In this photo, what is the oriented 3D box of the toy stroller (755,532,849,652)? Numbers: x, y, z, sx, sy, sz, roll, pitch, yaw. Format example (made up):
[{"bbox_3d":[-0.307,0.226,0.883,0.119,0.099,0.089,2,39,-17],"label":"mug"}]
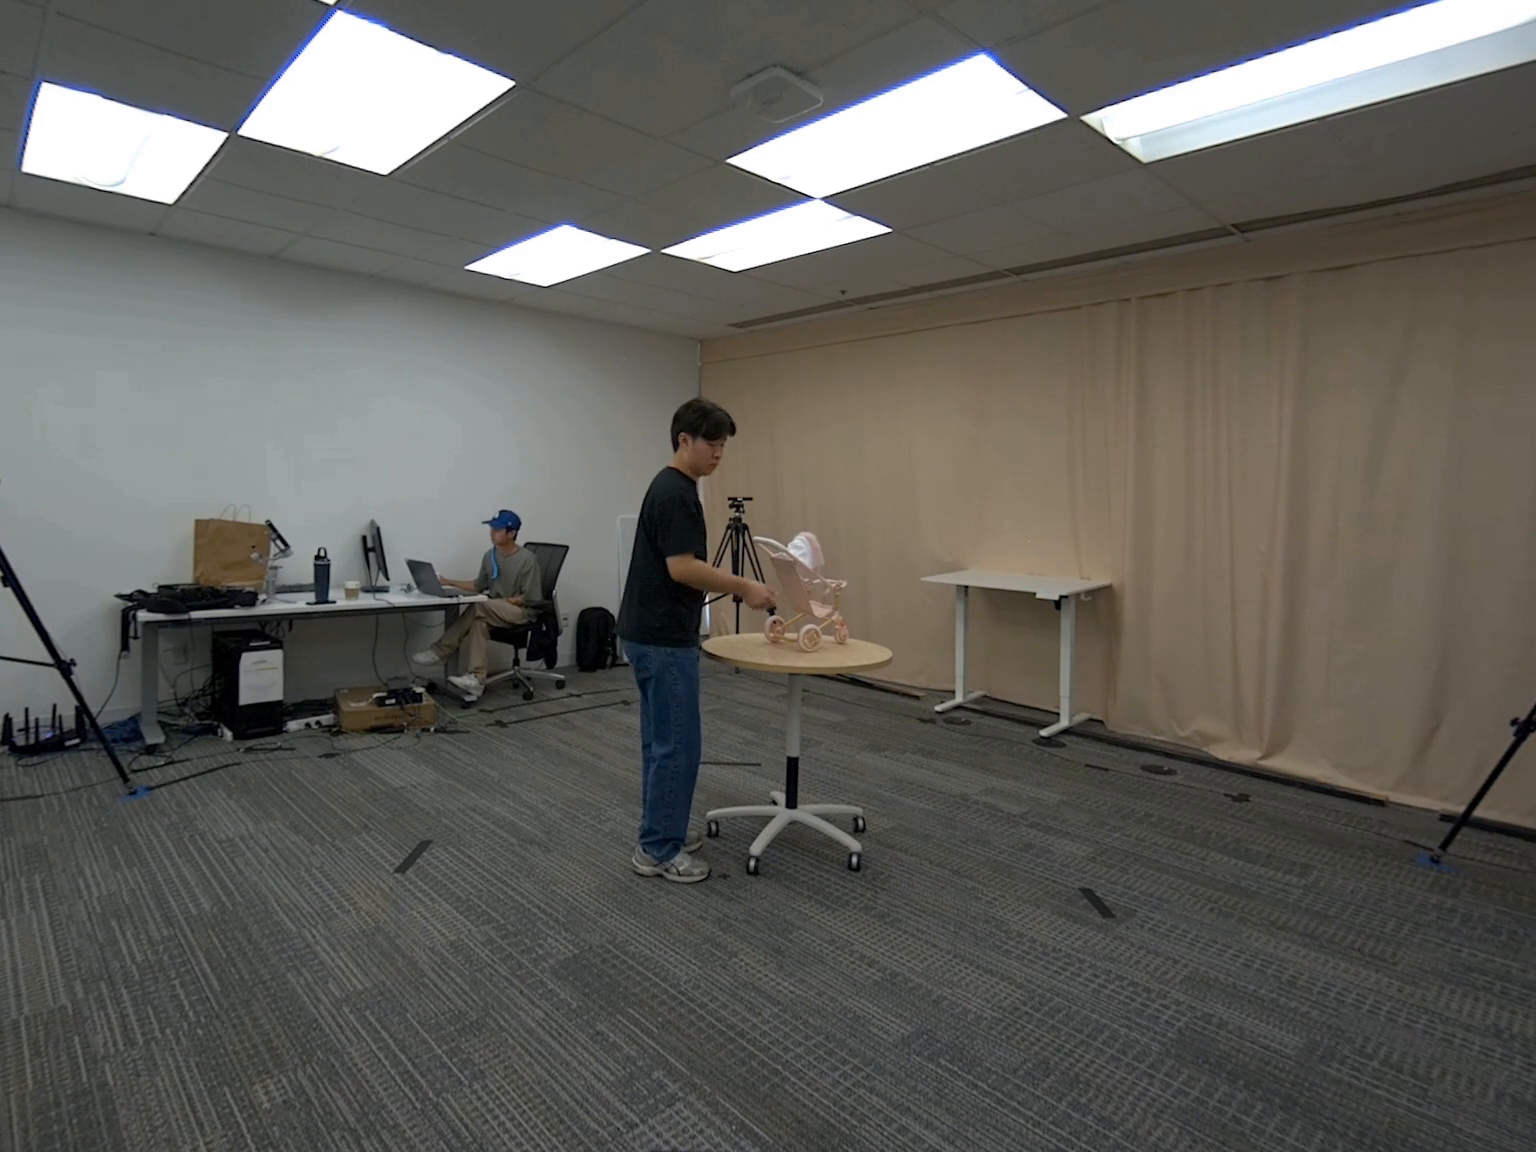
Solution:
[{"bbox_3d":[0.153,0.064,3.440,0.337,0.530,0.287,-16,11,-25],"label":"toy stroller"}]
